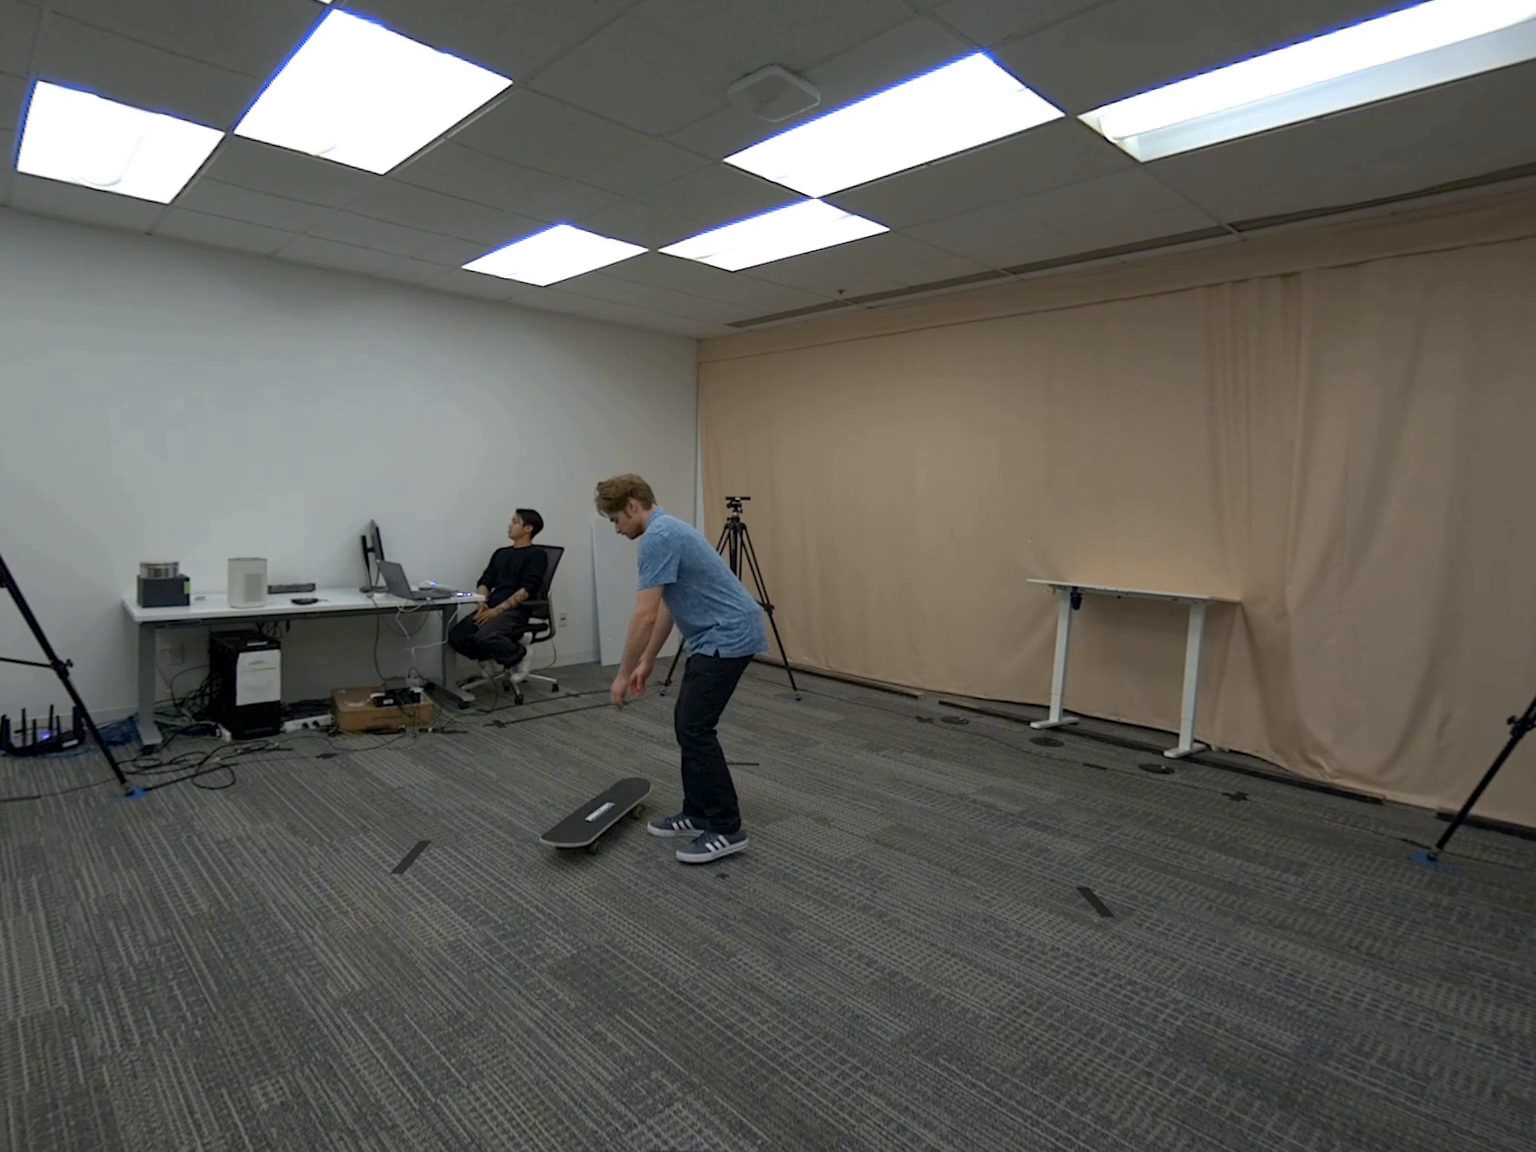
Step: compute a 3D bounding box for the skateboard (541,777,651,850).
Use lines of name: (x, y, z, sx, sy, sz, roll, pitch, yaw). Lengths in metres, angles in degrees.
skateboard: (-0.693, 1.000, 3.473, 0.196, 0.110, 0.777, 3, 5, 15)
